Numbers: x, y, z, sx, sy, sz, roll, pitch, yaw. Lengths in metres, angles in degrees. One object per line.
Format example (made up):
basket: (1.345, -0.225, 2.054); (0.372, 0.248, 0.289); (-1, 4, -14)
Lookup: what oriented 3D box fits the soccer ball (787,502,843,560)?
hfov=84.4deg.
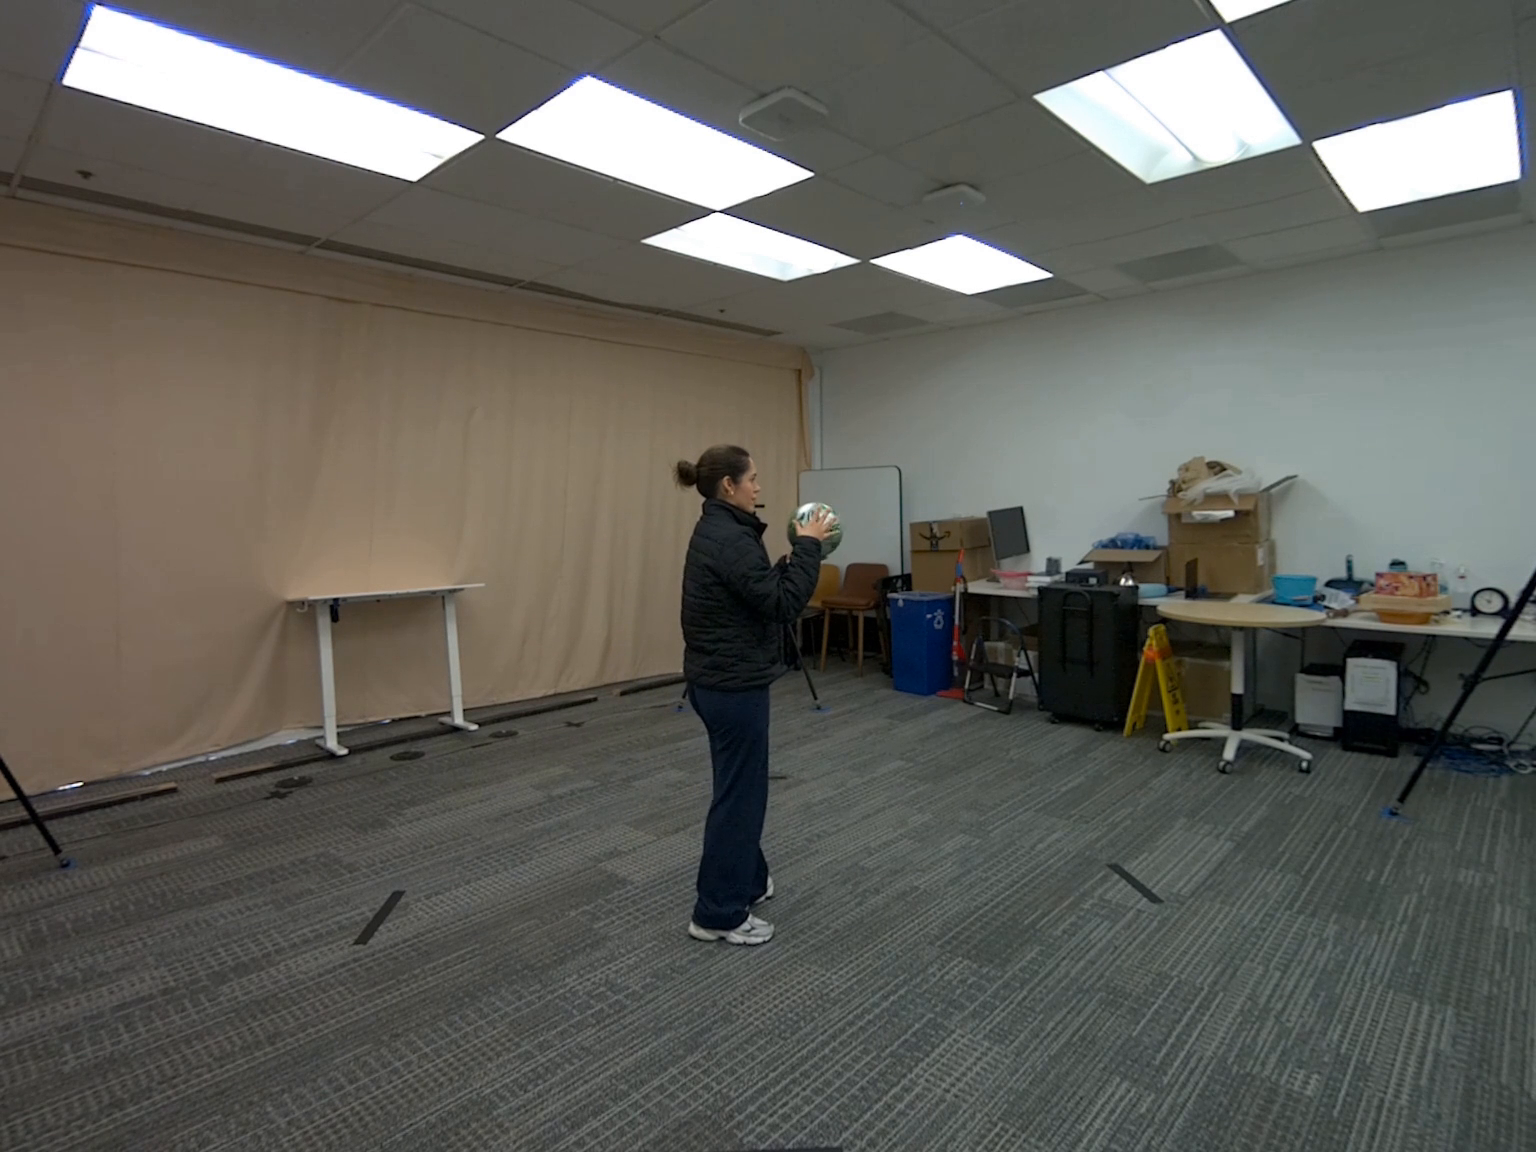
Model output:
soccer ball: (0.159, -0.156, 2.806); (0.187, 0.187, 0.188); (-1, 4, -2)
